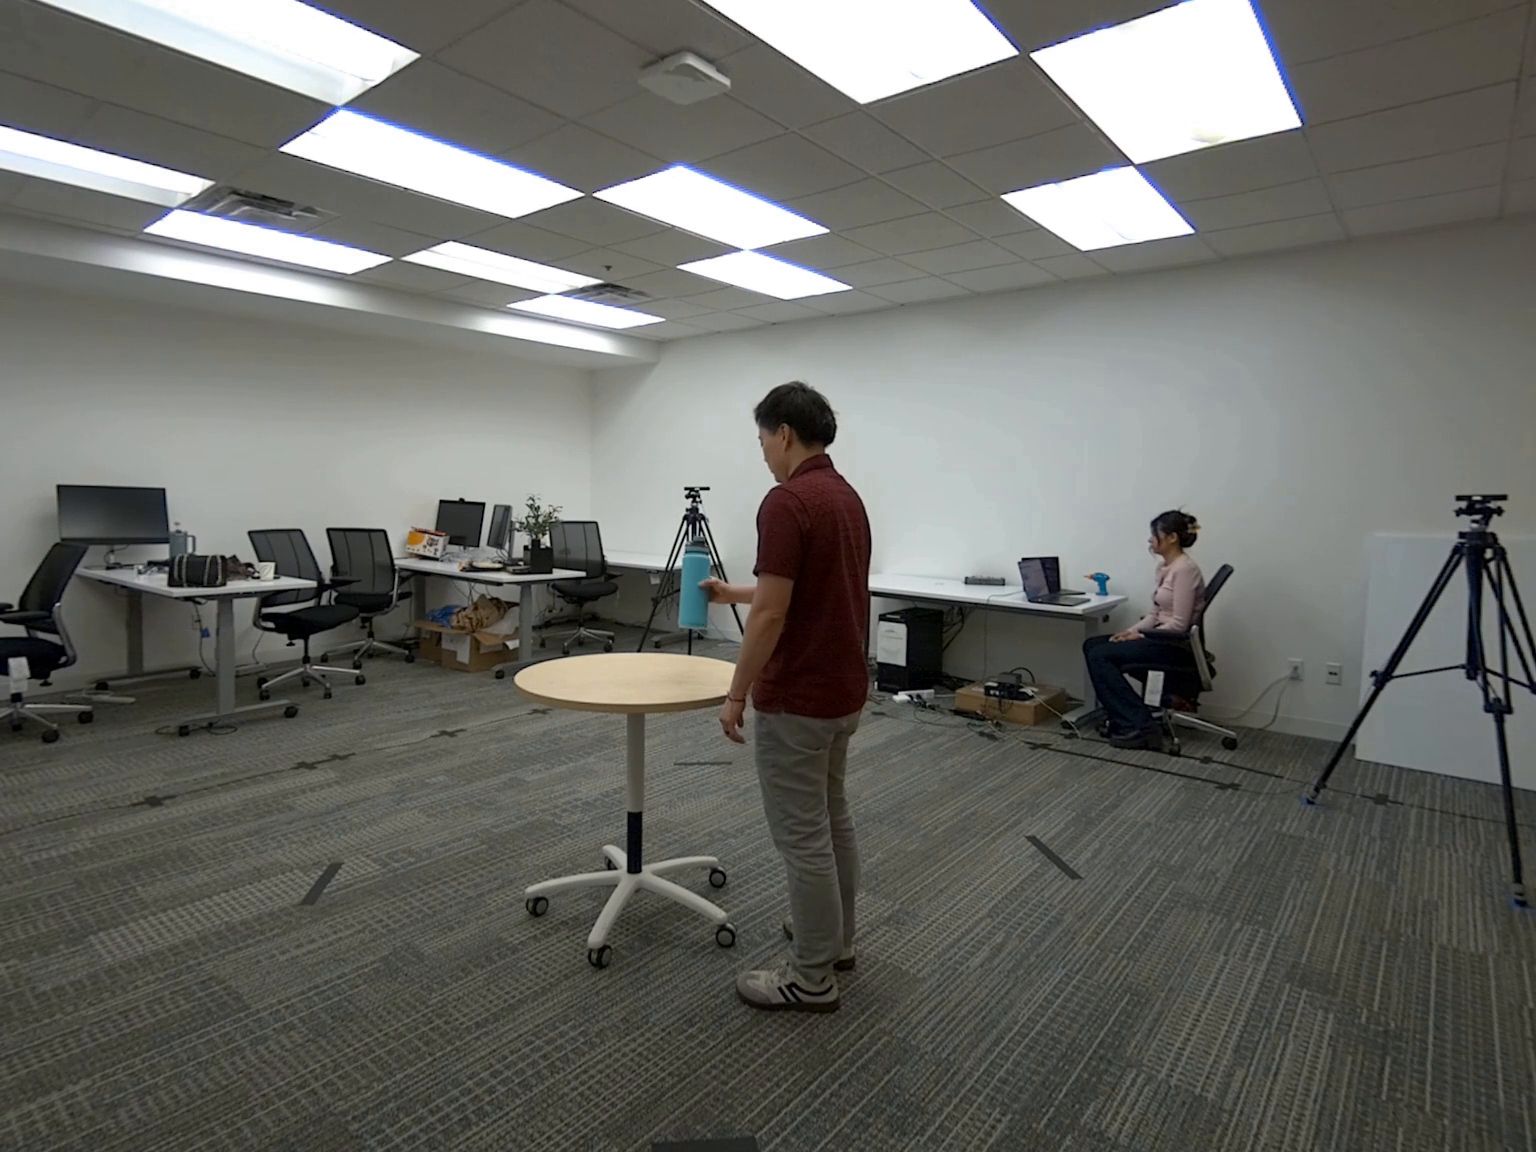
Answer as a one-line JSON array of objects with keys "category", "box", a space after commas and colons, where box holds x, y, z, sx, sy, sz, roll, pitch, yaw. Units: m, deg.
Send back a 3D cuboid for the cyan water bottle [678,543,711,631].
[{"category": "cyan water bottle", "box": [-0.232, 0.017, 2.643, 0.092, 0.286, 0.091, 0, -10, -2]}]
